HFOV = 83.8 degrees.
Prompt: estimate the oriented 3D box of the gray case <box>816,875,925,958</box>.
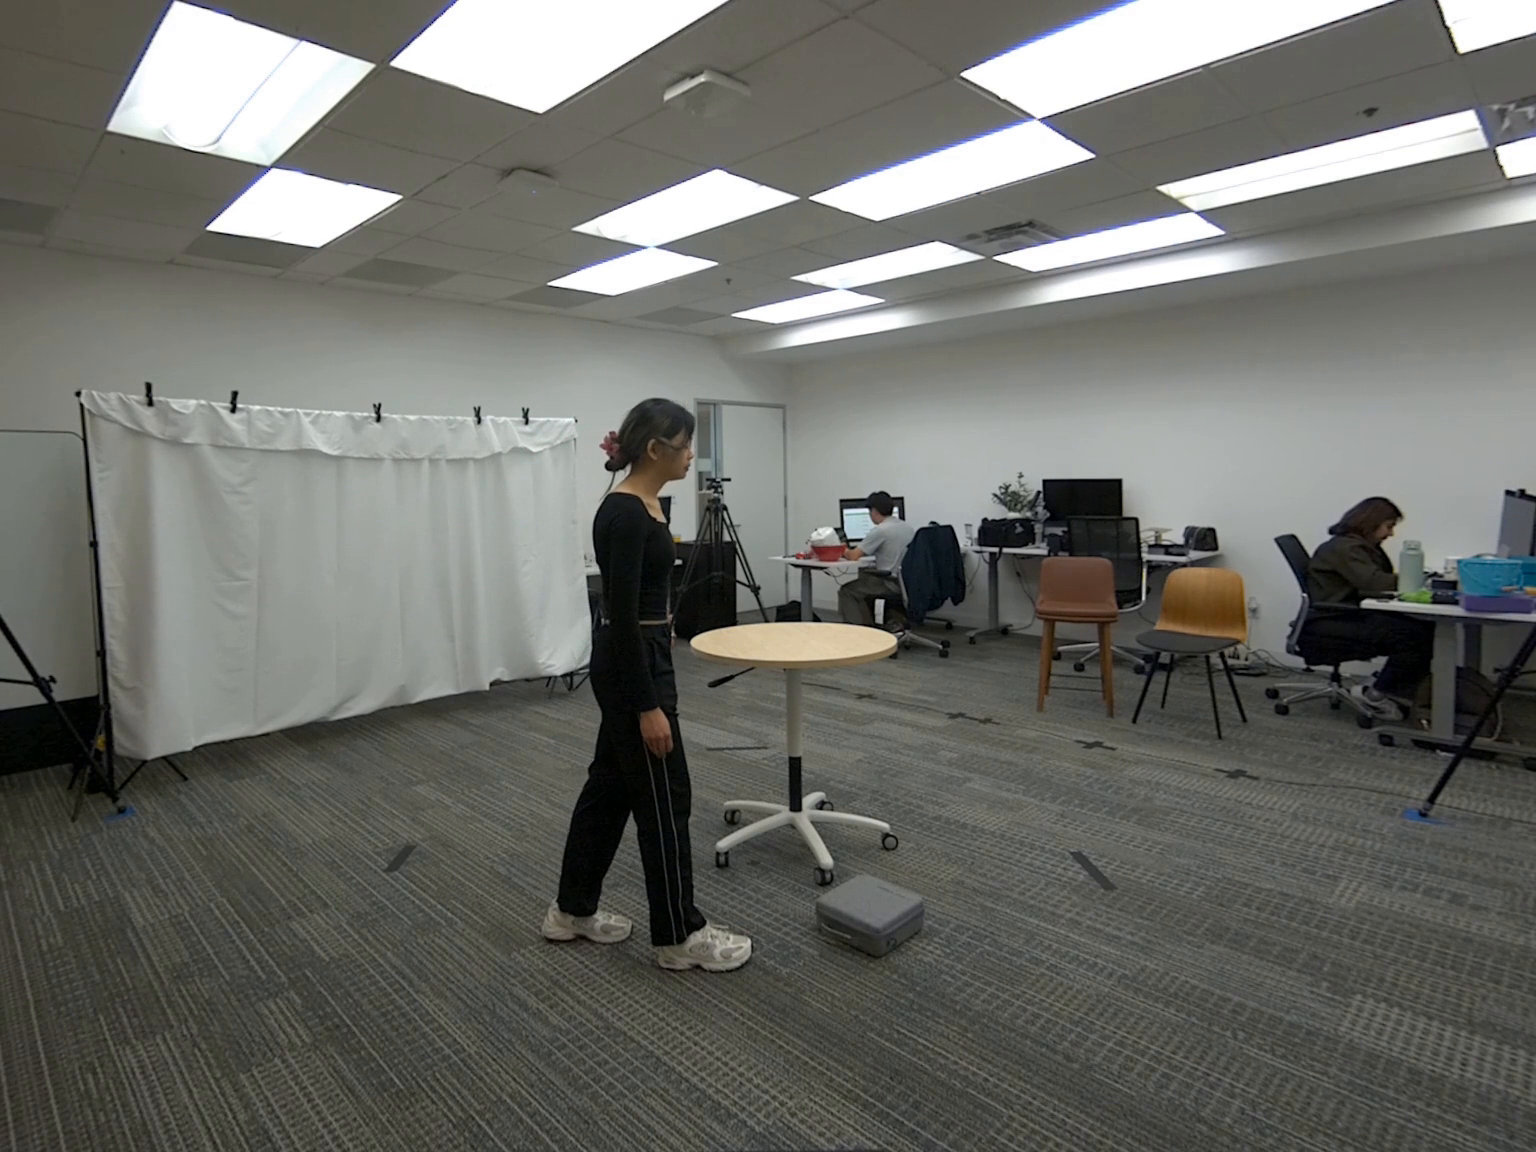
[{"bbox_3d":[0.317,1.035,2.628,0.254,0.104,0.265,-9,10,-44],"label":"gray case"}]
